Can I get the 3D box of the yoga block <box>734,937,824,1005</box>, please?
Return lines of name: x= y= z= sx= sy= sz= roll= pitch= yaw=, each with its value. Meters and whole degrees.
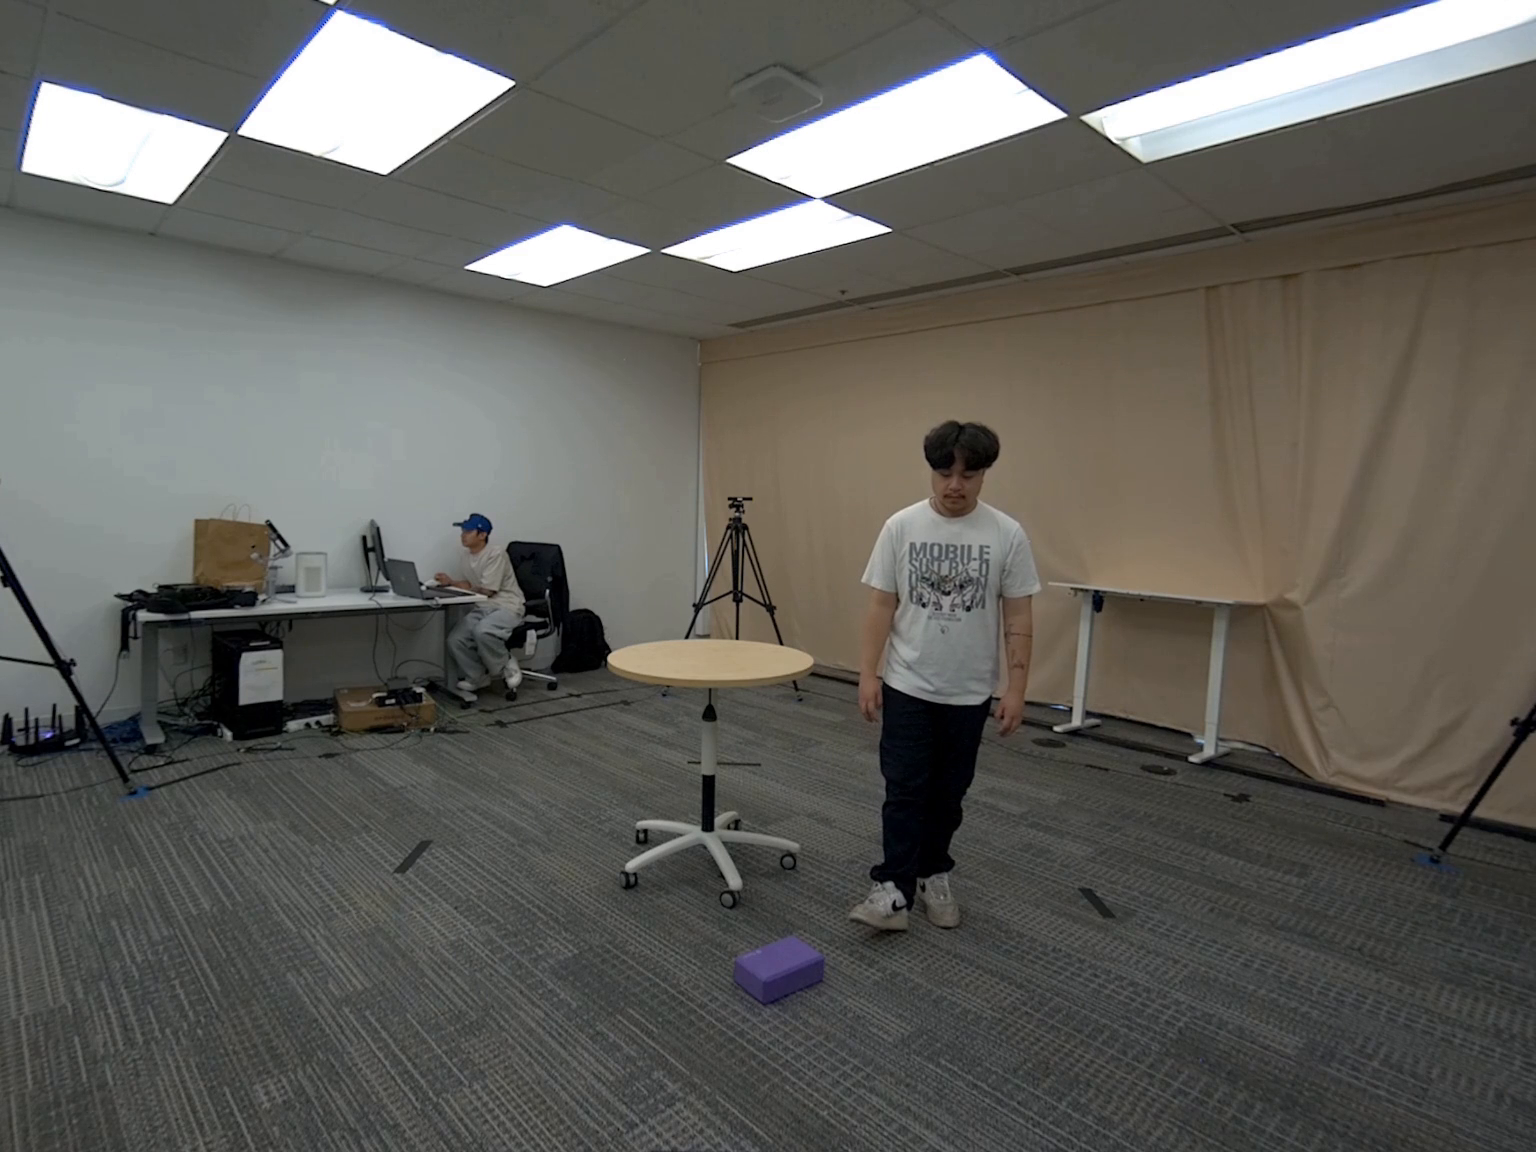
yoga block: x=0.029 y=1.137 z=2.430 sx=0.224 sy=0.076 sz=0.153 roll=-4 pitch=7 yaw=-38
